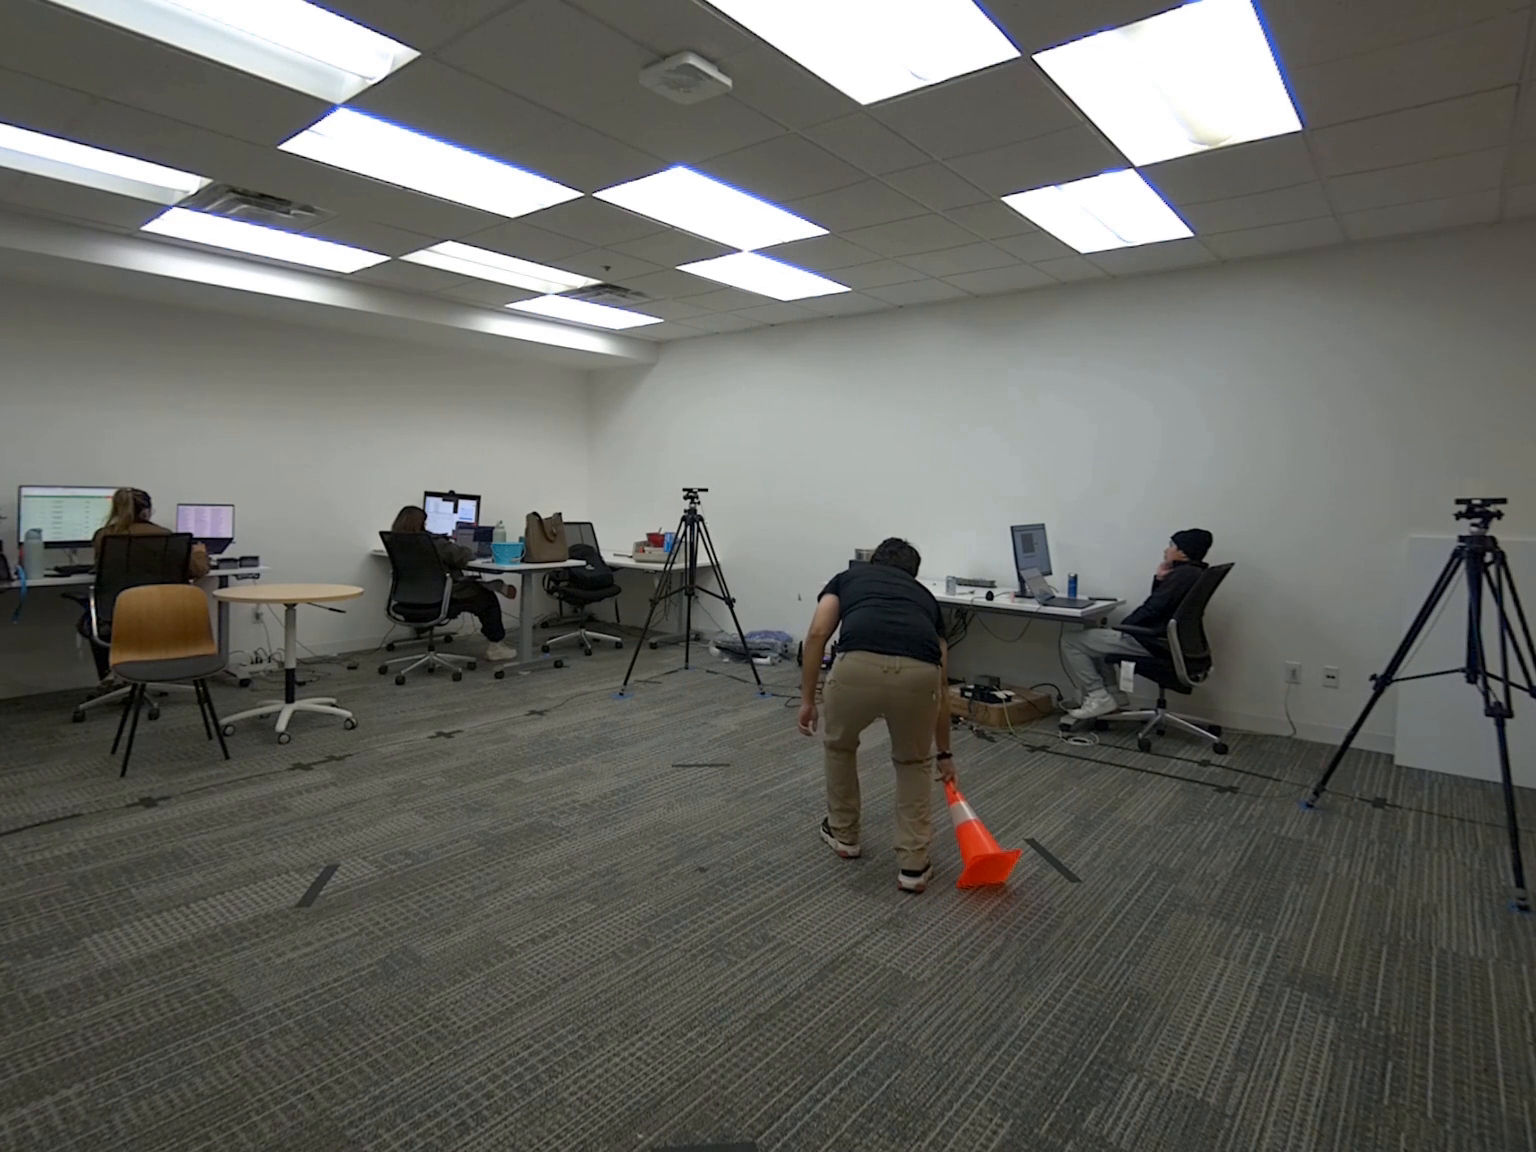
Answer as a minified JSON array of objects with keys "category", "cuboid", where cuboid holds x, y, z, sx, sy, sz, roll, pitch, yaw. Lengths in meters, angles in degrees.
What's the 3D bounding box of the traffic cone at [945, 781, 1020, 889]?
[{"category":"traffic cone","cuboid":[0.725,0.903,3.131,0.200,0.201,0.398,-1,38,-18]}]
